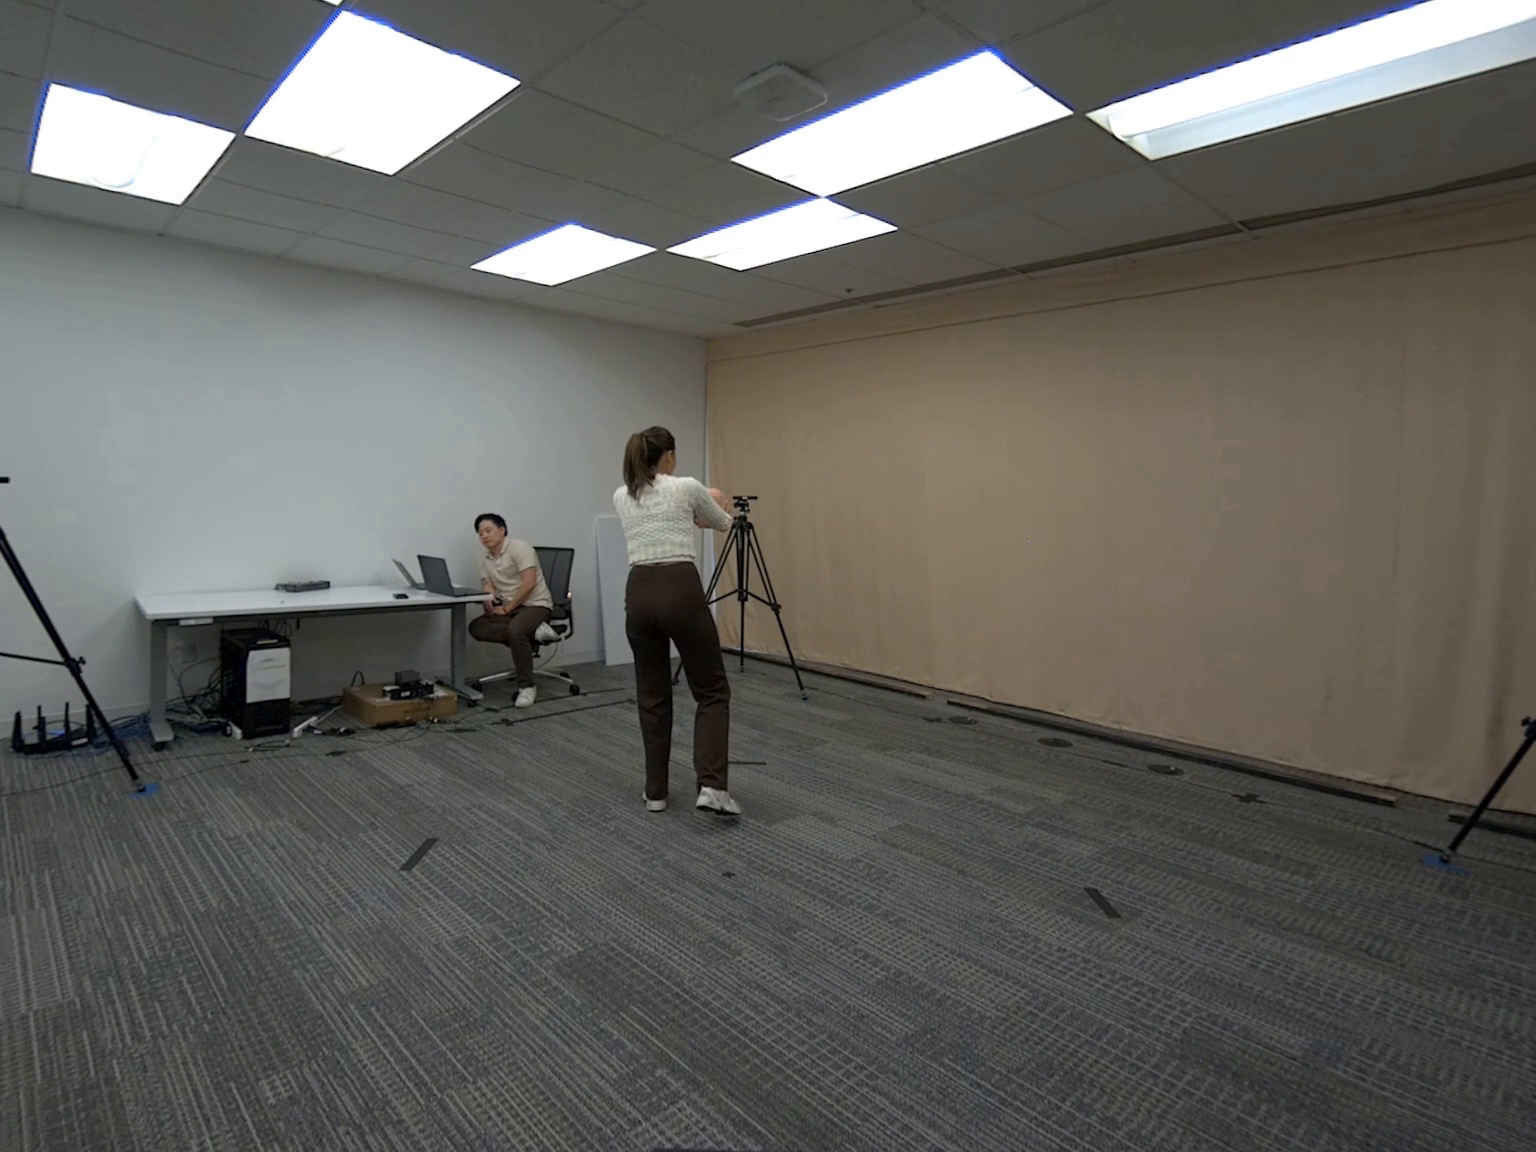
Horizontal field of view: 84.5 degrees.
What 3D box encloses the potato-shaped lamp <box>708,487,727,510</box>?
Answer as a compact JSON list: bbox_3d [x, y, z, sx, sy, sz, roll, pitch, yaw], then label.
[{"bbox_3d":[-0.298,-0.345,4.330,0.167,0.196,0.171,3,16,15],"label":"potato-shaped lamp"}]
